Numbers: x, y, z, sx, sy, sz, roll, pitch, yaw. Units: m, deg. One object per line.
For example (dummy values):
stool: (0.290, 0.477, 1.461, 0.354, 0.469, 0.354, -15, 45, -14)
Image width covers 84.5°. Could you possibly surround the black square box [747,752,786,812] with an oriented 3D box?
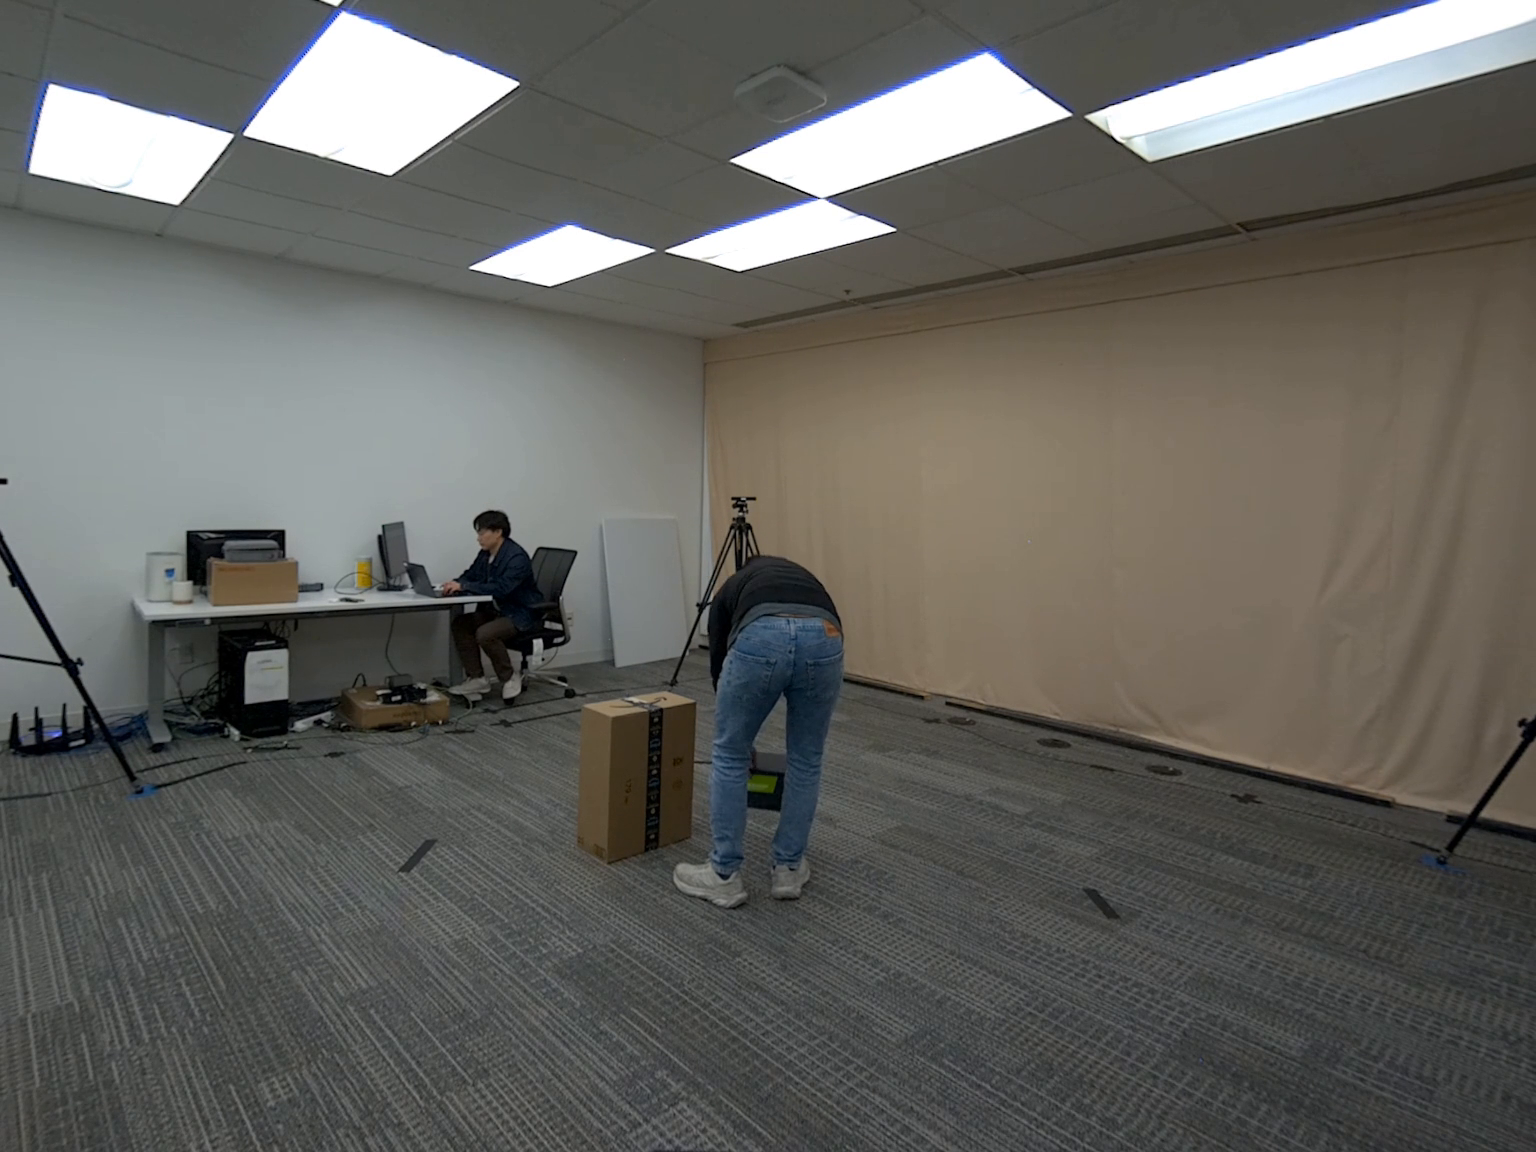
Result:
black square box: (0.025, 0.813, 3.339, 0.230, 0.155, 0.215, 3, 5, 12)
